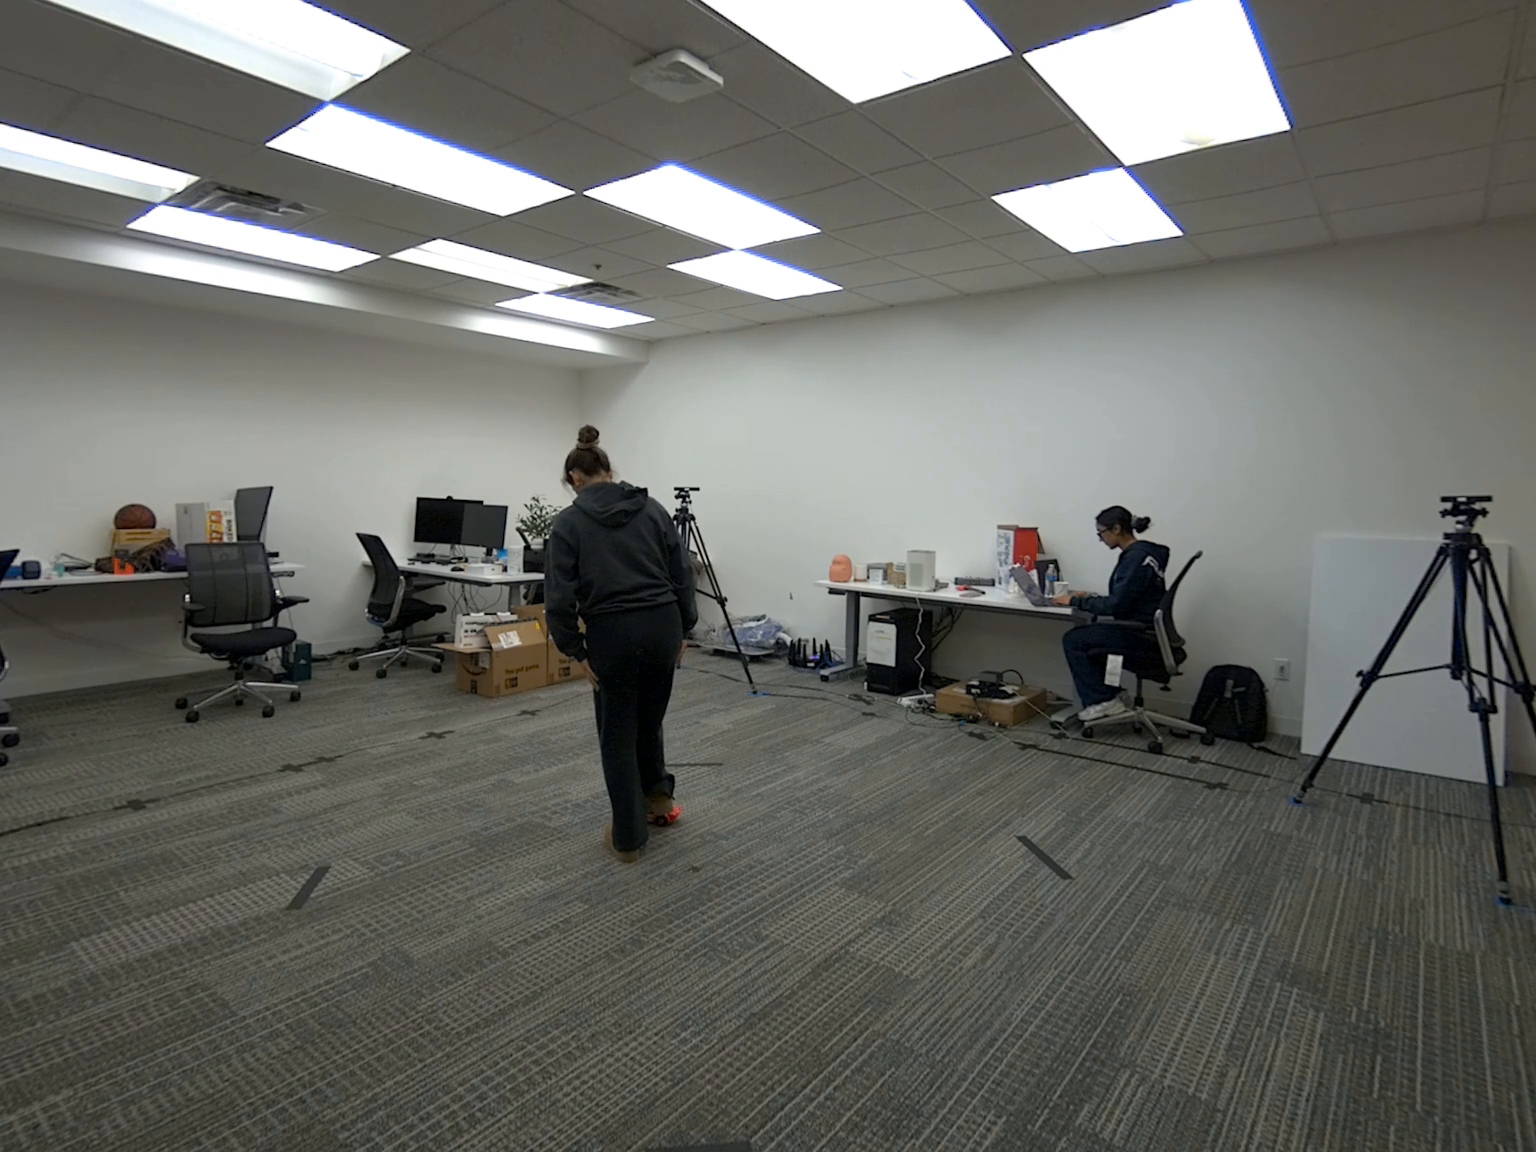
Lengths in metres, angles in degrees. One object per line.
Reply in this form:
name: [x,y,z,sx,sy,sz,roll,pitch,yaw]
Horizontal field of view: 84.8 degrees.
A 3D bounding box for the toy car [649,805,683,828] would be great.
toy car: [-0.475,0.989,3.548,0.256,0.083,0.130,-11,4,9]
